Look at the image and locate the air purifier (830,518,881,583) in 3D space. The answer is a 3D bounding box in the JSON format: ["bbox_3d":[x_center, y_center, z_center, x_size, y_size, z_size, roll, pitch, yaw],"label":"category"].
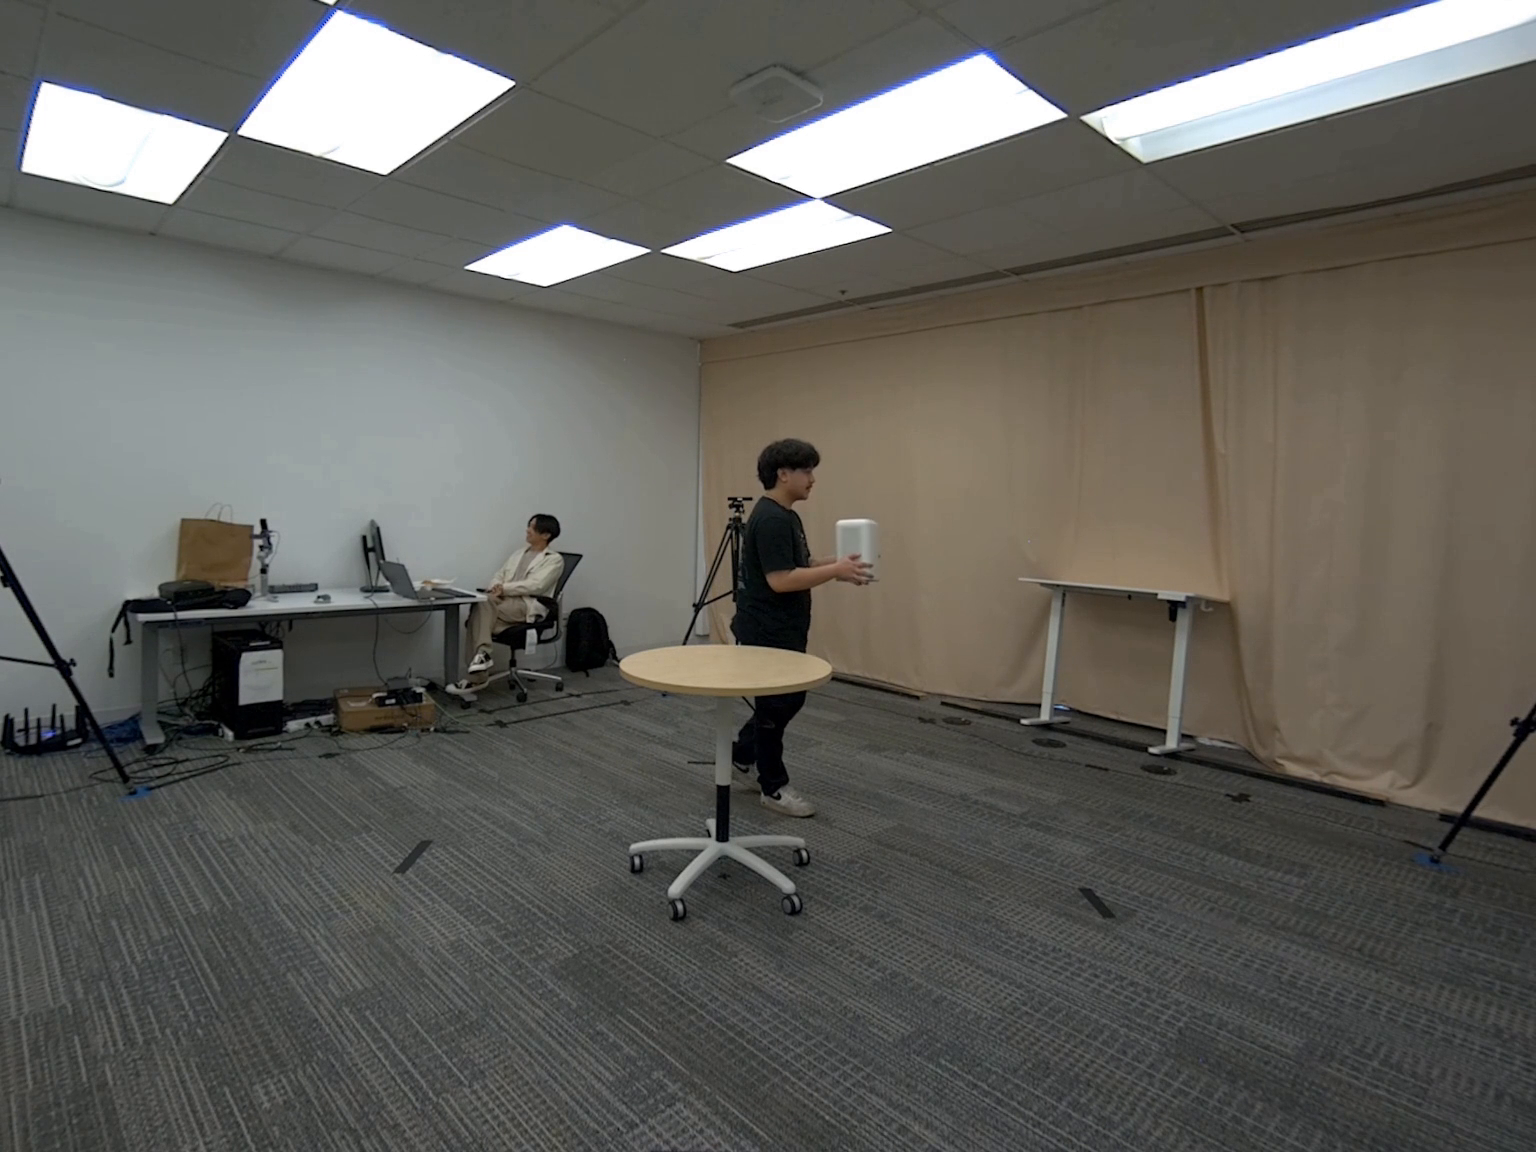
[{"bbox_3d":[0.379,-0.111,3.678,0.175,0.266,0.167,-1,-4,25],"label":"air purifier"}]
